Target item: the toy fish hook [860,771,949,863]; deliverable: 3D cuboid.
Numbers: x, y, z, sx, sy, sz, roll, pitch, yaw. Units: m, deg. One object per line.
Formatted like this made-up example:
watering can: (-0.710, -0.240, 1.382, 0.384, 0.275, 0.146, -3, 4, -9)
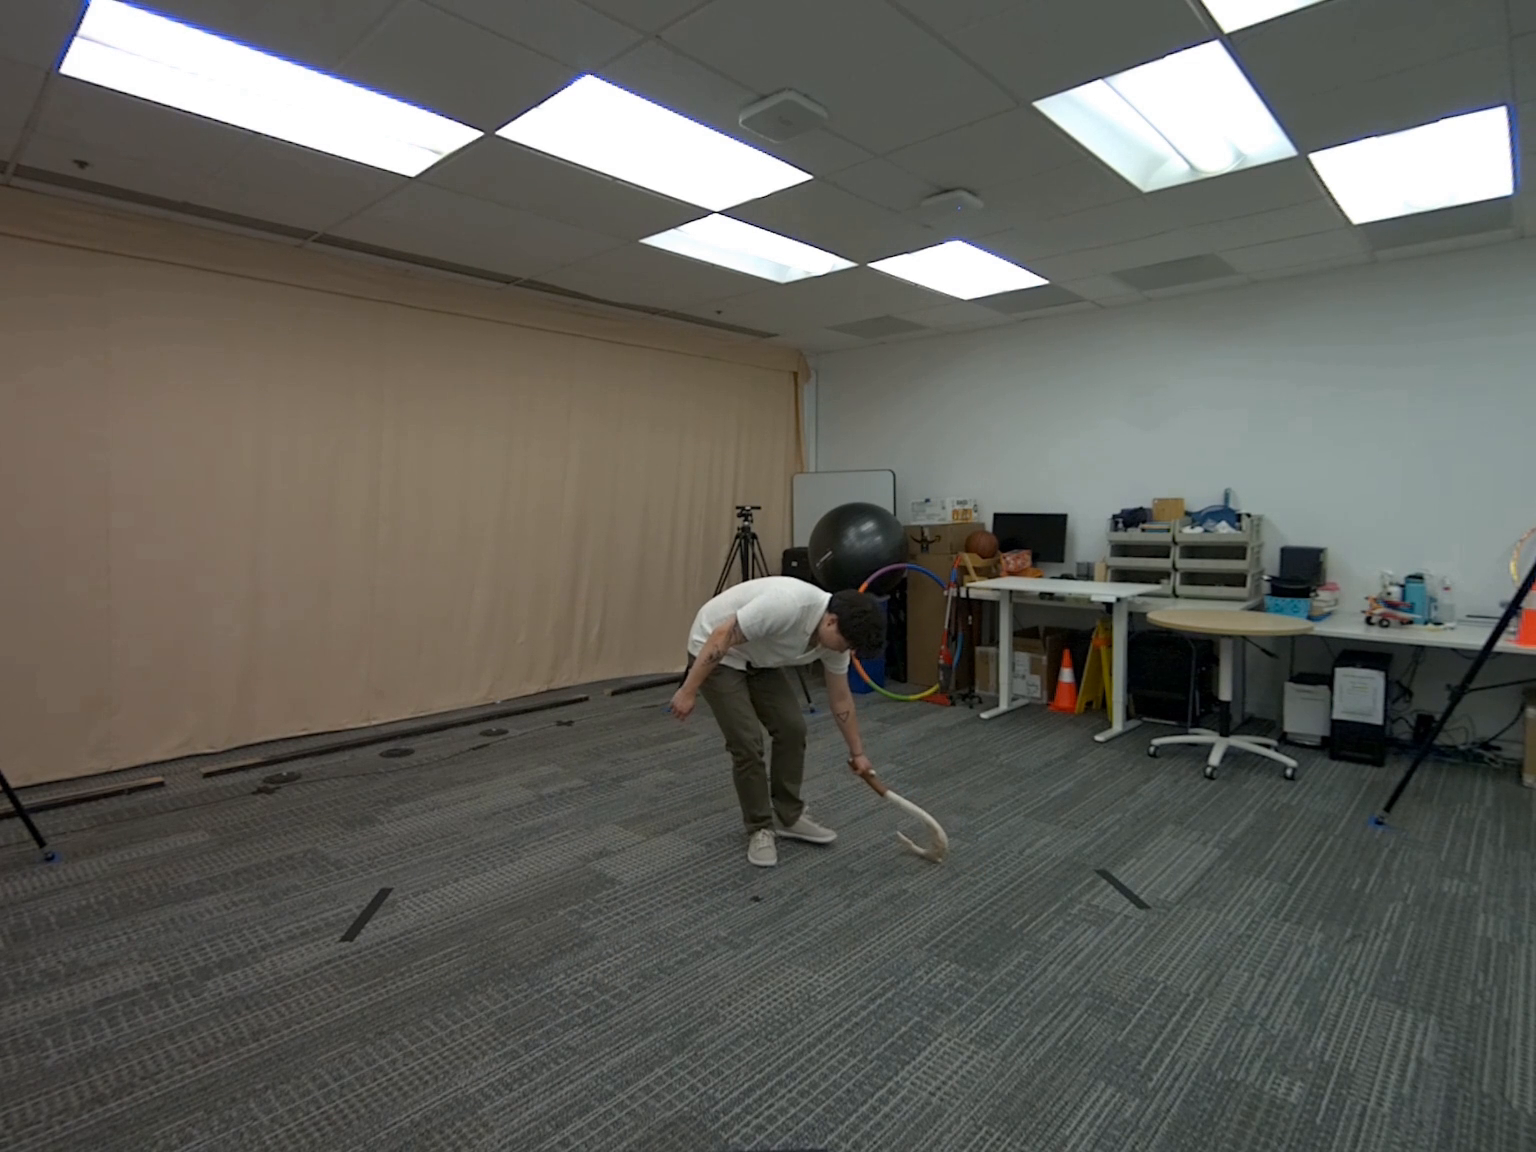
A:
toy fish hook: (0.509, 0.942, 3.380, 0.047, 0.223, 0.523, -17, 45, -44)
